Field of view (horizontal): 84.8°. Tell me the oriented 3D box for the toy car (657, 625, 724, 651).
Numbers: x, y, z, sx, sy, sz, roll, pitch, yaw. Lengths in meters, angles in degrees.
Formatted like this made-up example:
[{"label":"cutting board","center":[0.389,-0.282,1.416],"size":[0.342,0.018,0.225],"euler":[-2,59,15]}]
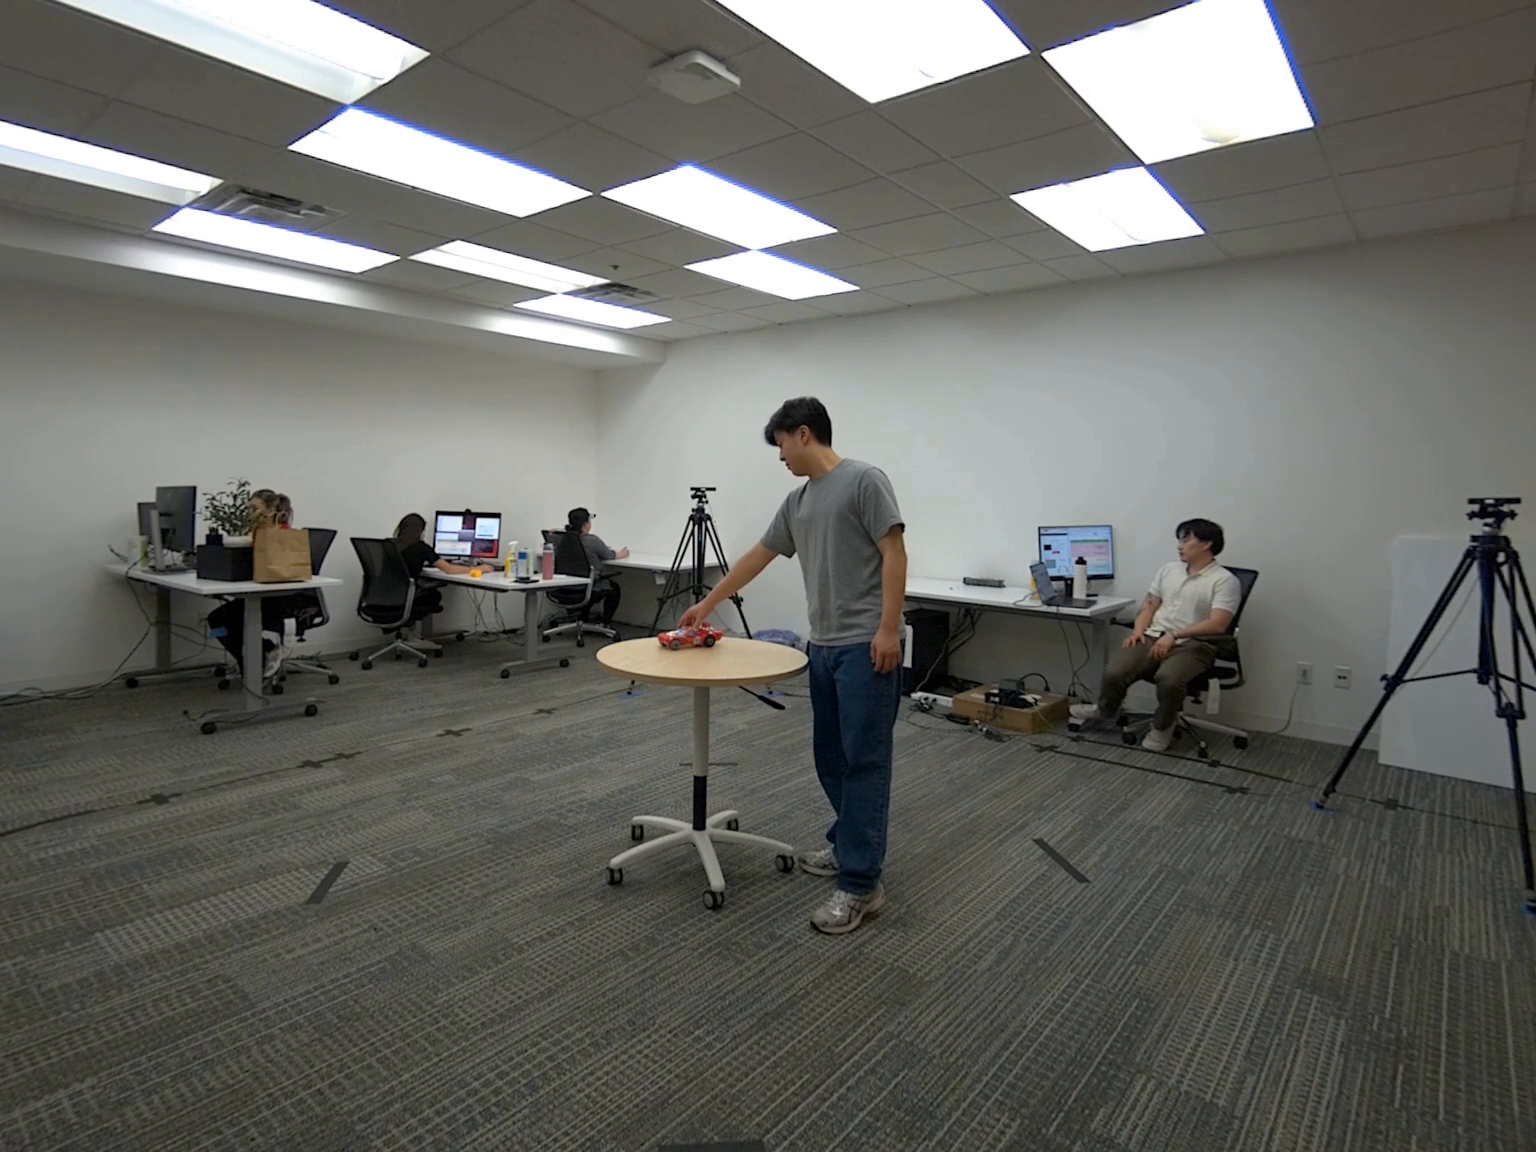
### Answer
[{"label":"toy car","center":[-0.300,0.236,3.252],"size":[0.249,0.082,0.134],"euler":[-14,12,-28]}]
